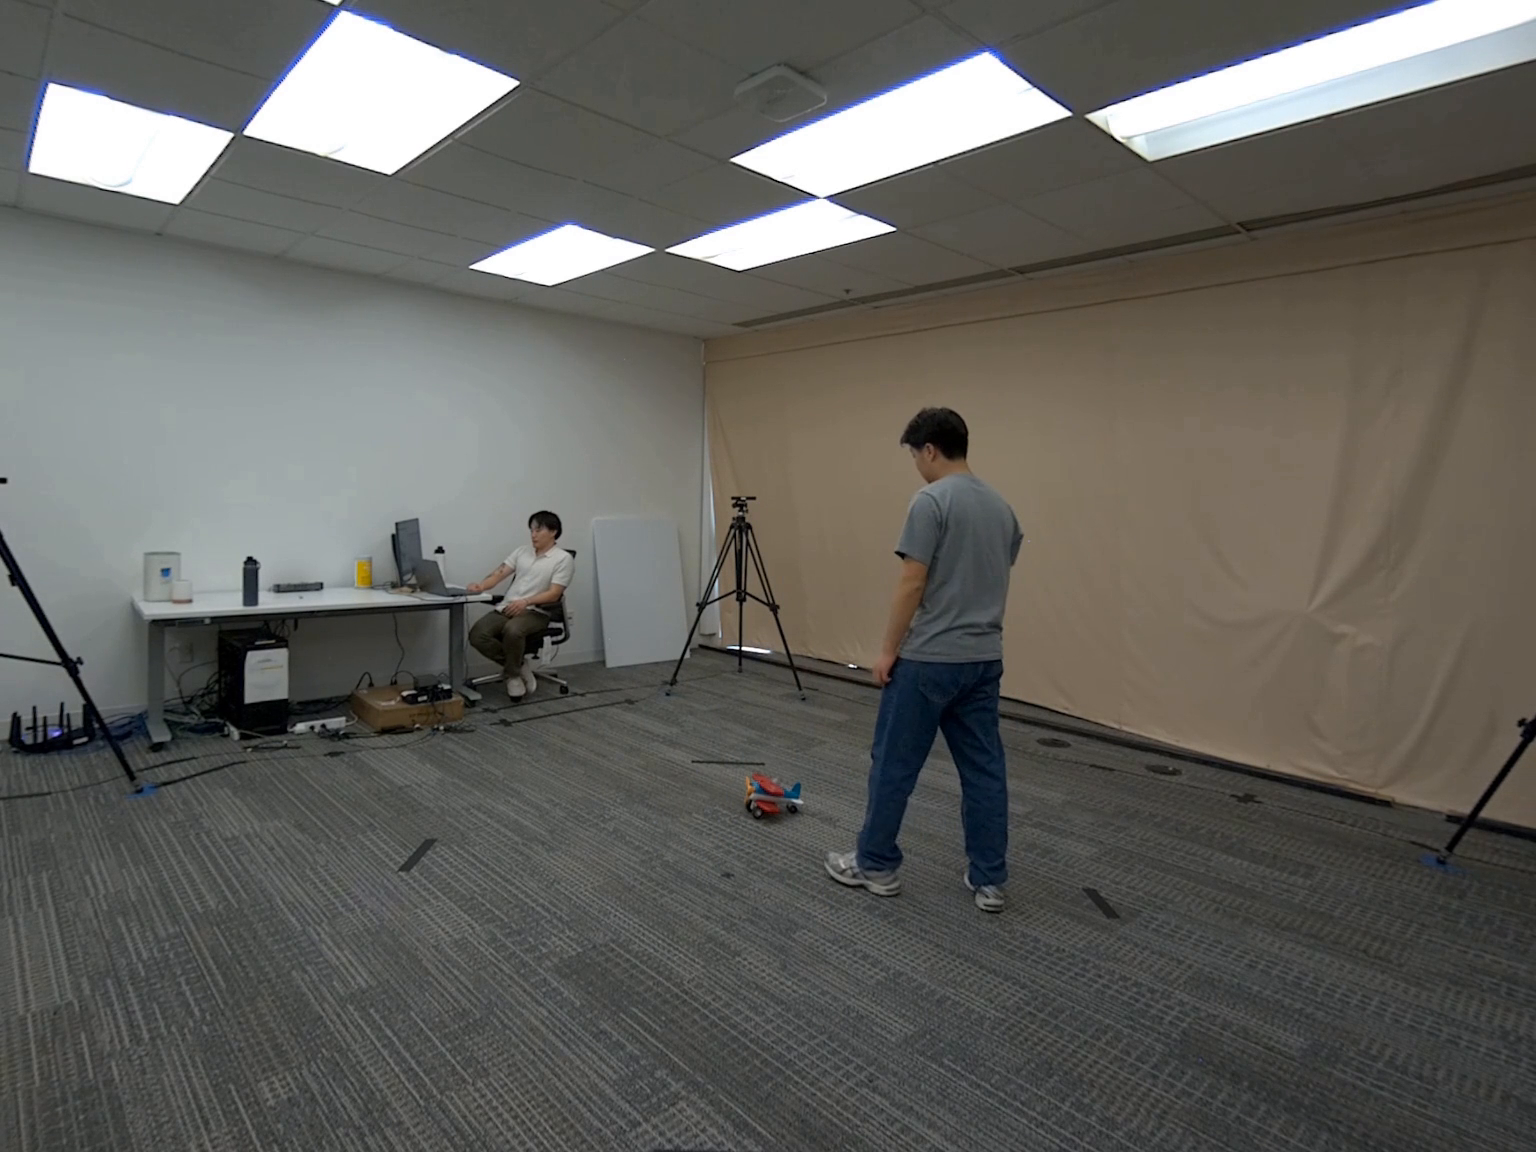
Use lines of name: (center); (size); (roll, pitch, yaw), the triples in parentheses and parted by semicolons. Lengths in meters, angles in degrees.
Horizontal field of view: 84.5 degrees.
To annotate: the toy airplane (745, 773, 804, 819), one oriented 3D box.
toy airplane: (0.007, 0.982, 3.757); (0.257, 0.156, 0.253); (6, 7, 43)
